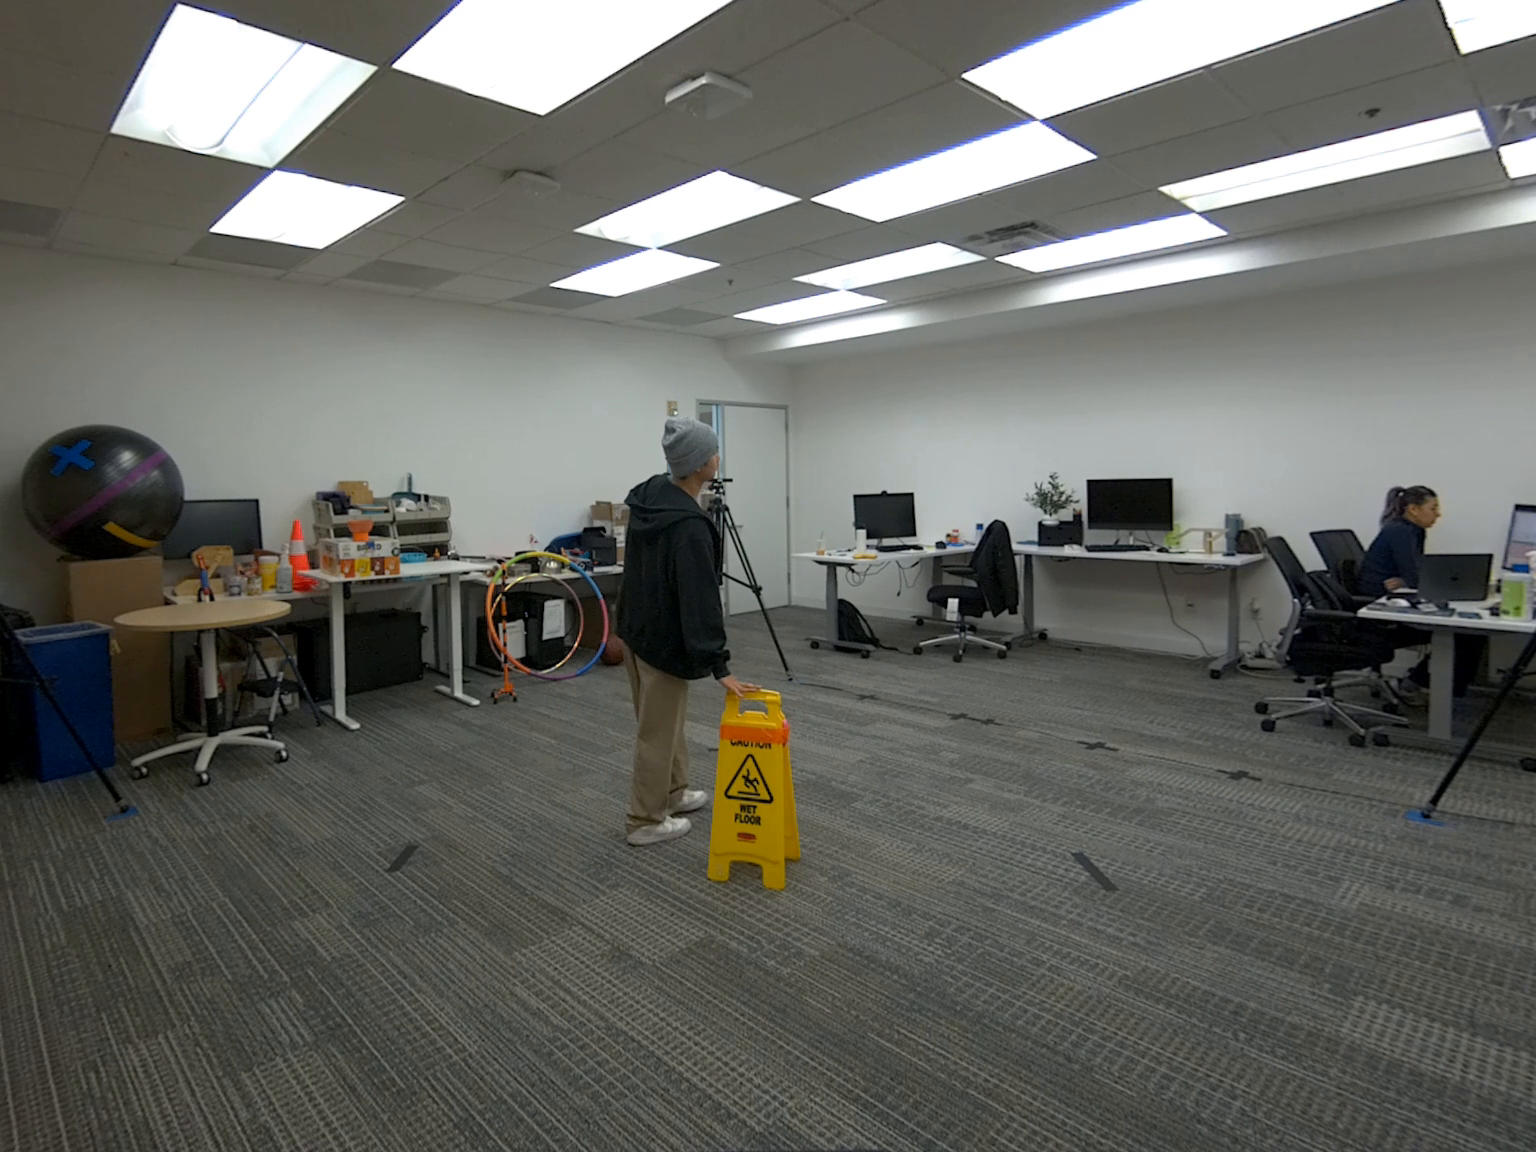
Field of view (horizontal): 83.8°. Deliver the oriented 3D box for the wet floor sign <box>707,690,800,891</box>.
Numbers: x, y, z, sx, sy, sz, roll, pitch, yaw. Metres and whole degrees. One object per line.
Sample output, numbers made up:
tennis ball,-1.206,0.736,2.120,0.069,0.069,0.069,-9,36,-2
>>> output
wet floor sign,-0.050,0.727,3.037,0.287,0.643,0.286,-1,5,16
